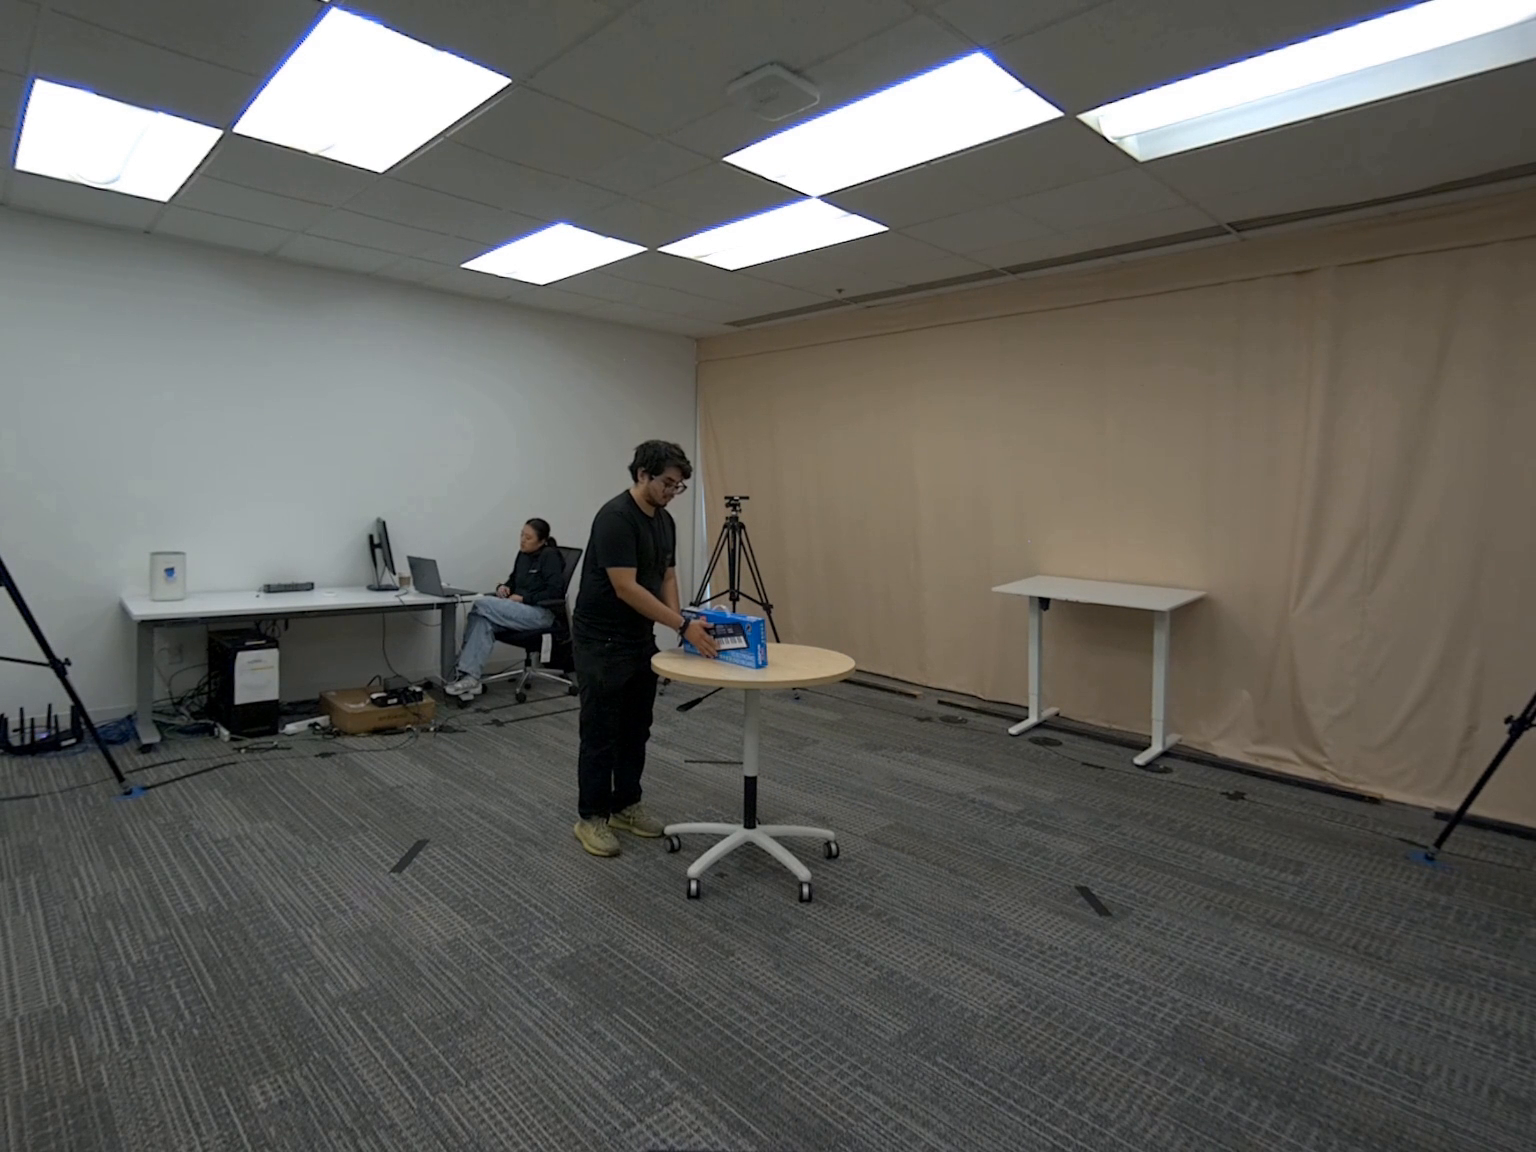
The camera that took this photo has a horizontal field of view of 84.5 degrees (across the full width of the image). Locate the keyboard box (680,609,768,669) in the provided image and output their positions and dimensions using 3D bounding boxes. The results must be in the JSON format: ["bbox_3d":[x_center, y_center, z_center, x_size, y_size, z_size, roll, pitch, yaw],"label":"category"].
[{"bbox_3d":[-0.177,0.229,3.163,0.058,0.175,0.448,-7,8,-40],"label":"keyboard box"}]
